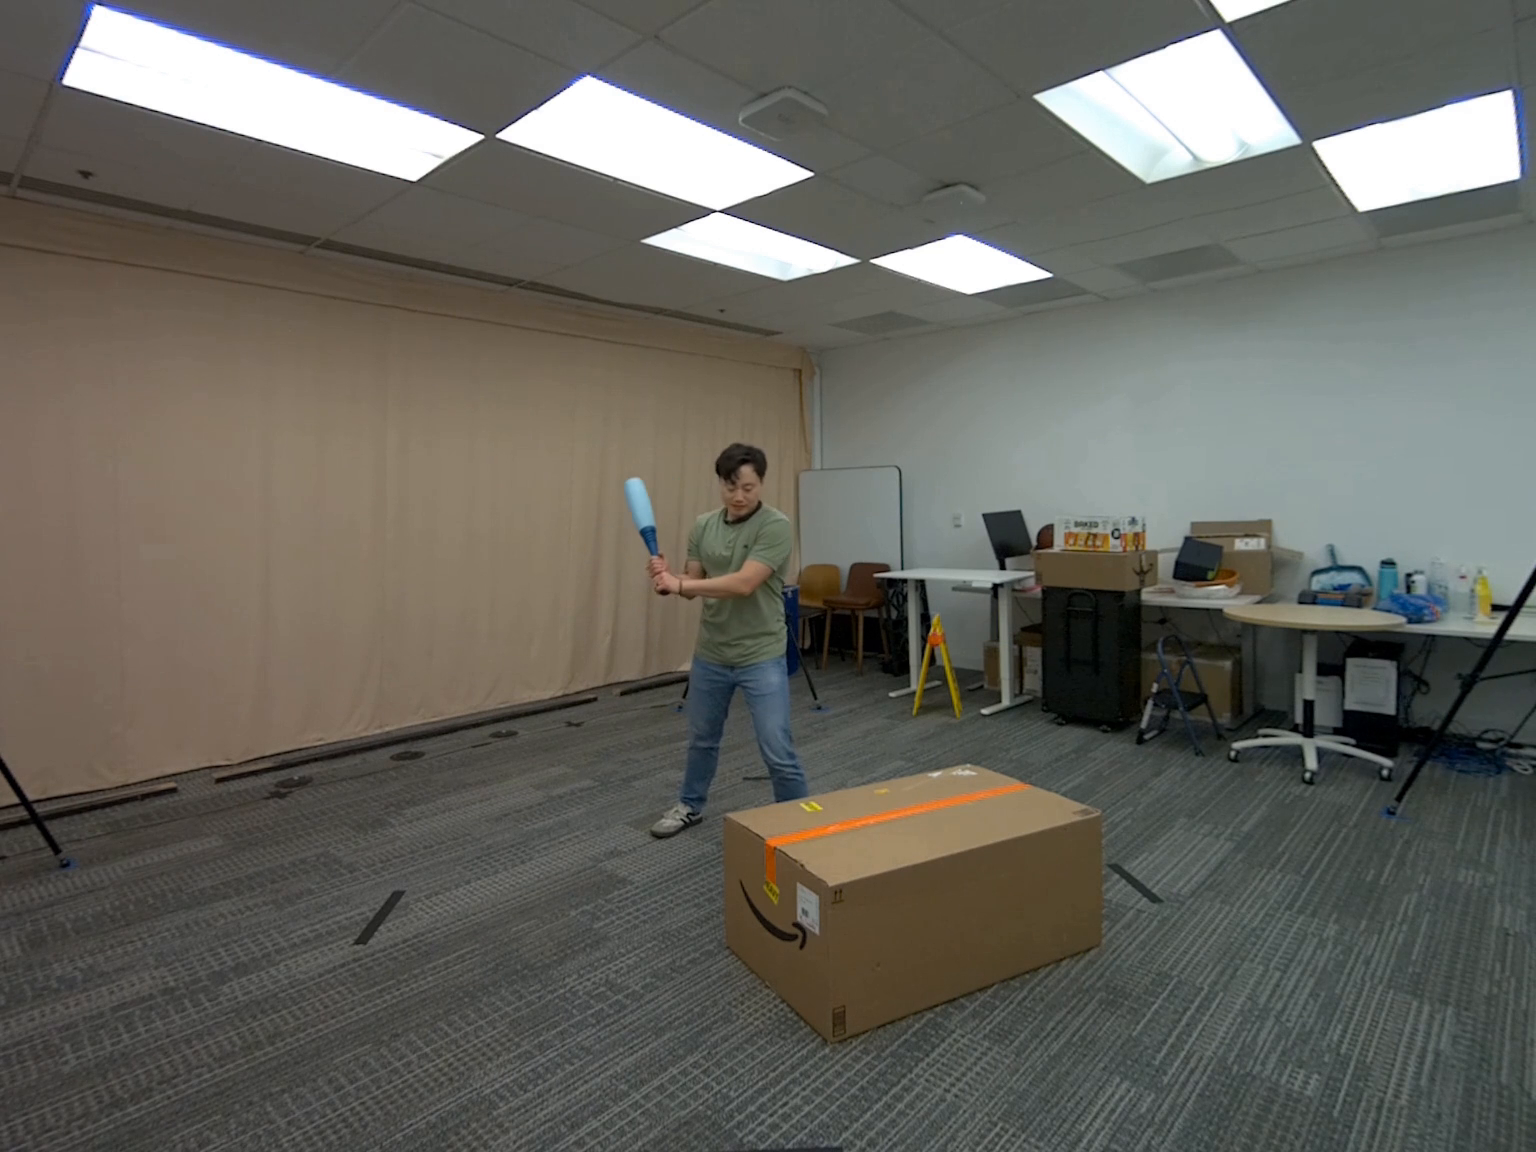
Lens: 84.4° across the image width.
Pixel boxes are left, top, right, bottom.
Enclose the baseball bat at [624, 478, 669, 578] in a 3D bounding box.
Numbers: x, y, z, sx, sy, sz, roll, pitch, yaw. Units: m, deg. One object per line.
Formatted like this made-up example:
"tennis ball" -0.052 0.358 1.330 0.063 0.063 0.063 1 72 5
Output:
"baseball bat" -0.454 -0.137 3.274 0.088 0.557 0.087 -14 -31 -10
